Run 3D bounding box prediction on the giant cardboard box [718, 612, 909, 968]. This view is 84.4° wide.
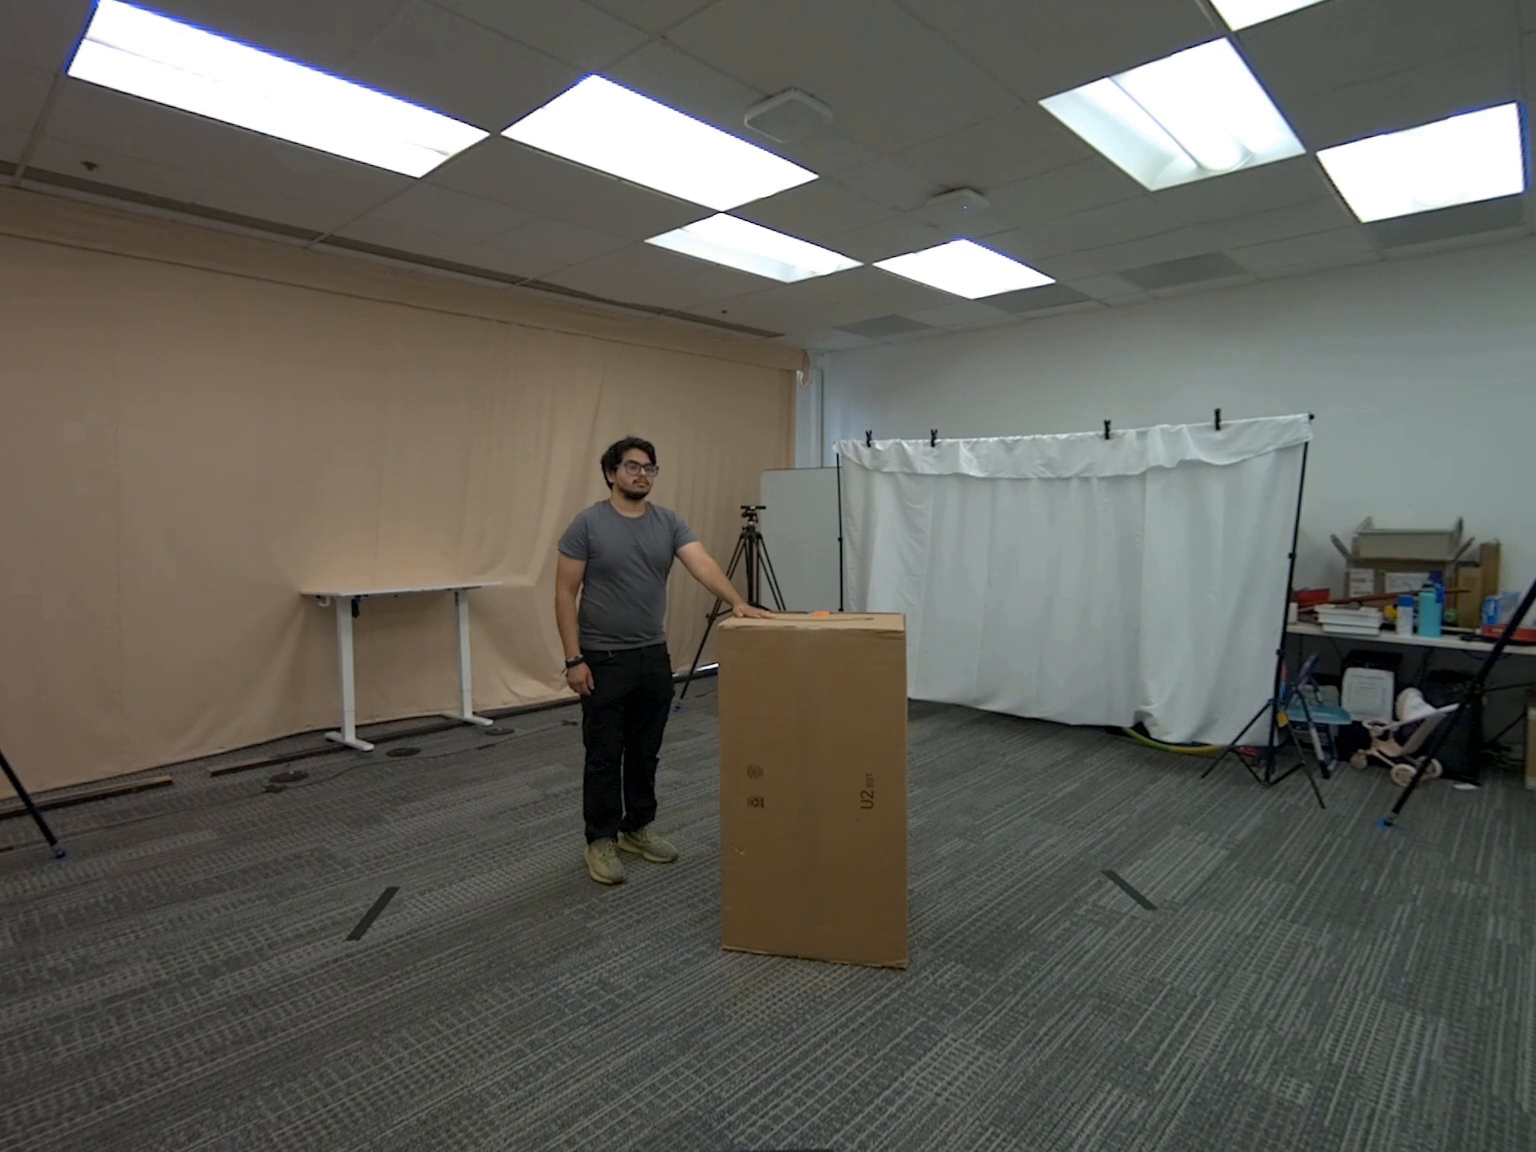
[{"bbox_3d":[0.166,0.650,2.768,0.585,1.024,0.421,0,3,11],"label":"giant cardboard box"}]
